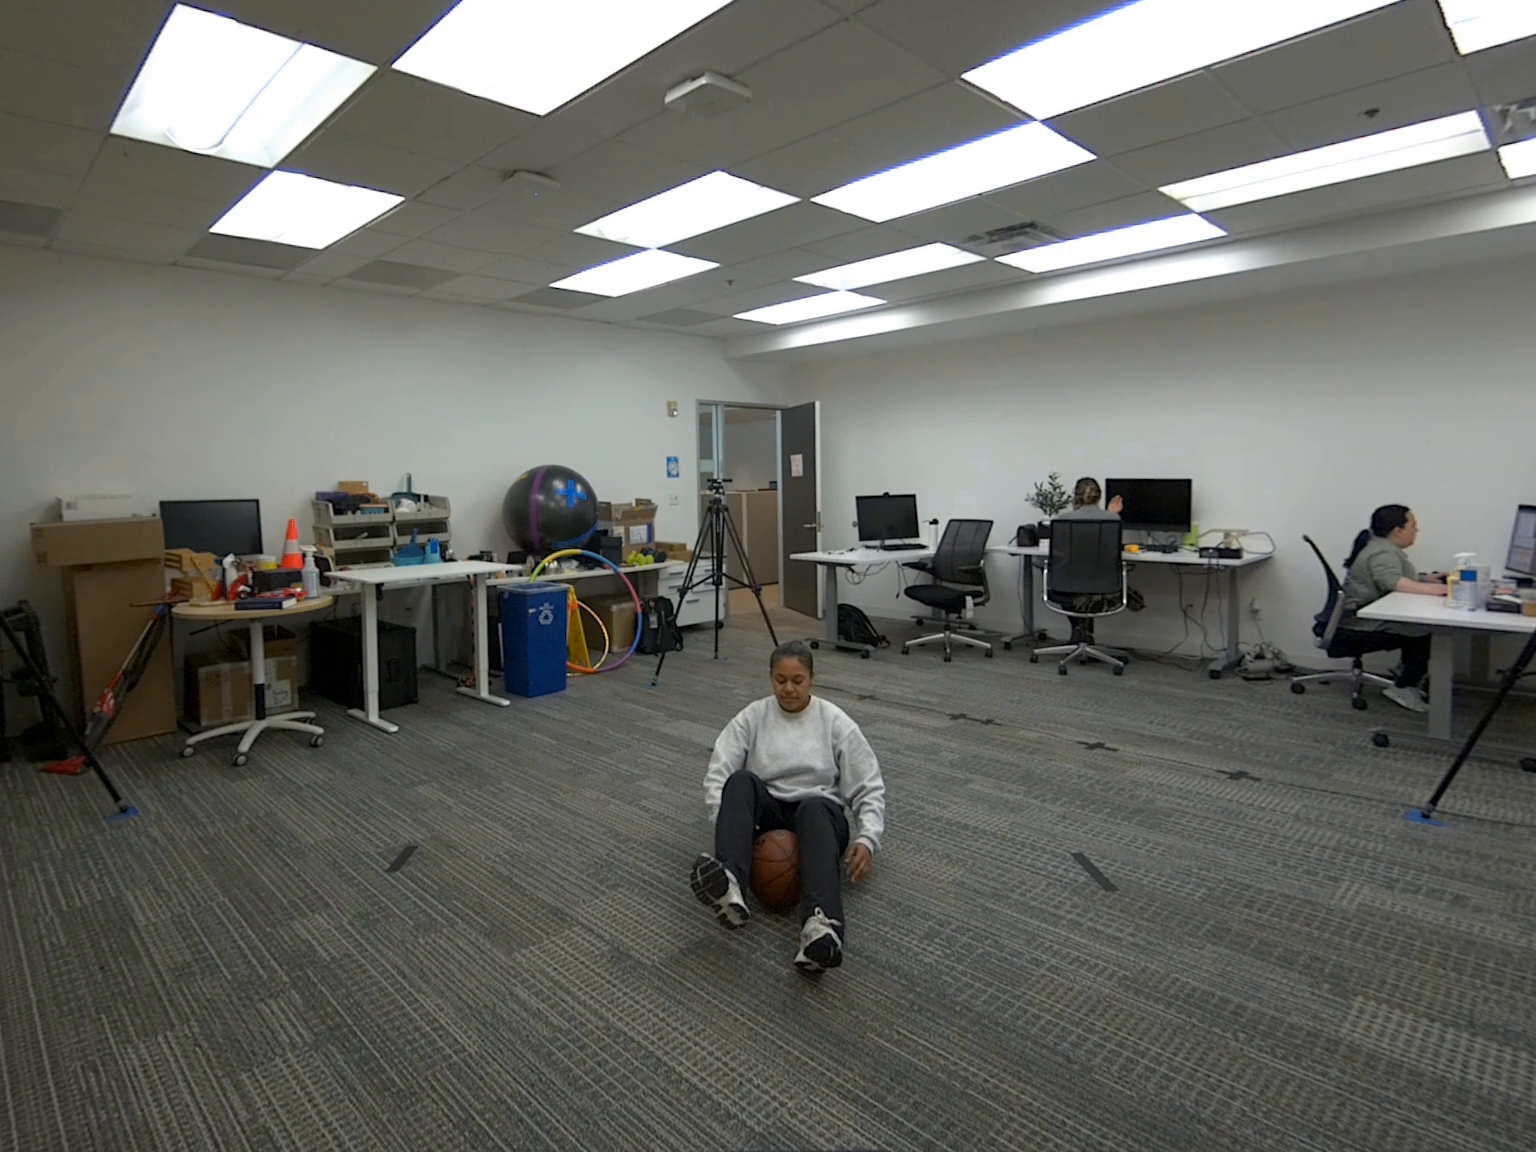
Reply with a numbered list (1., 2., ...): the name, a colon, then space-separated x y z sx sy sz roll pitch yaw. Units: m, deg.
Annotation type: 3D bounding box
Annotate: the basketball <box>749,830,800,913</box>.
1. basketball: 0.034 0.960 2.803 0.236 0.235 0.237 -1 5 -2
